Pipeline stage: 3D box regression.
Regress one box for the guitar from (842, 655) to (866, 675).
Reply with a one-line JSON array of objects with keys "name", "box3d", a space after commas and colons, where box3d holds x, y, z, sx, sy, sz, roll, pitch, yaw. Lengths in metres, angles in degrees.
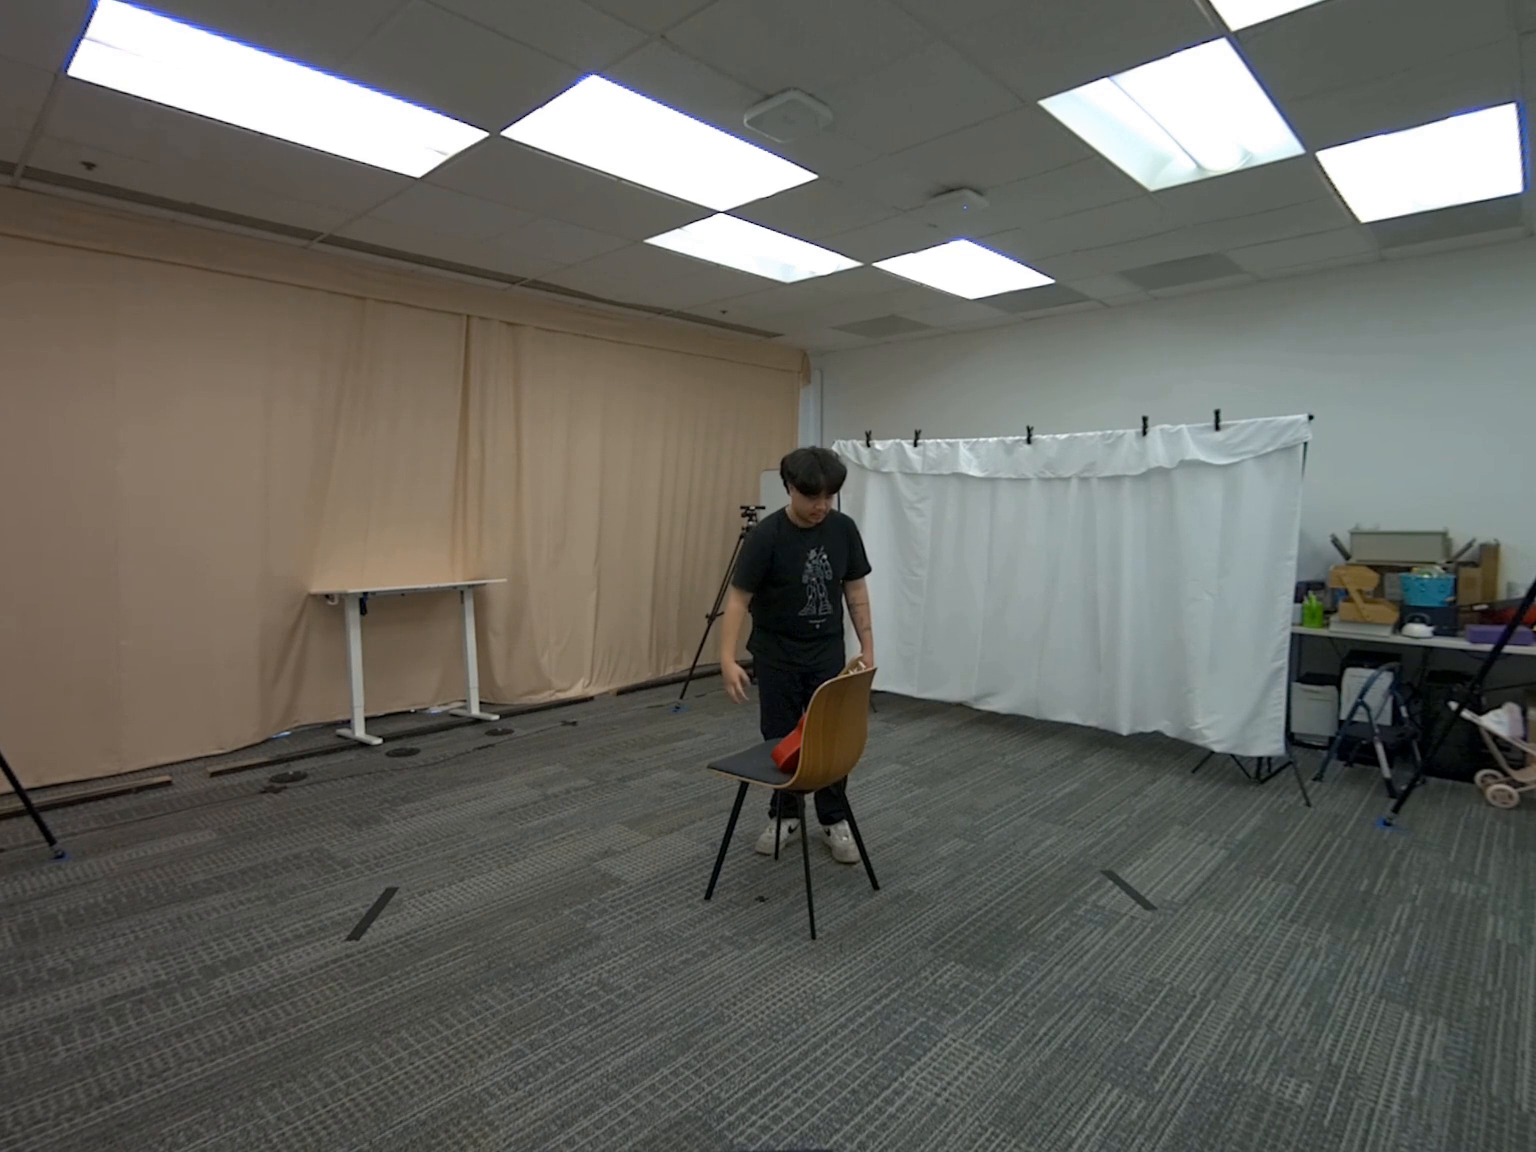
[{"name": "guitar", "box3d": [0.164, 0.467, 2.849, 0.187, 0.497, 0.073, -10, 47, -45]}]
